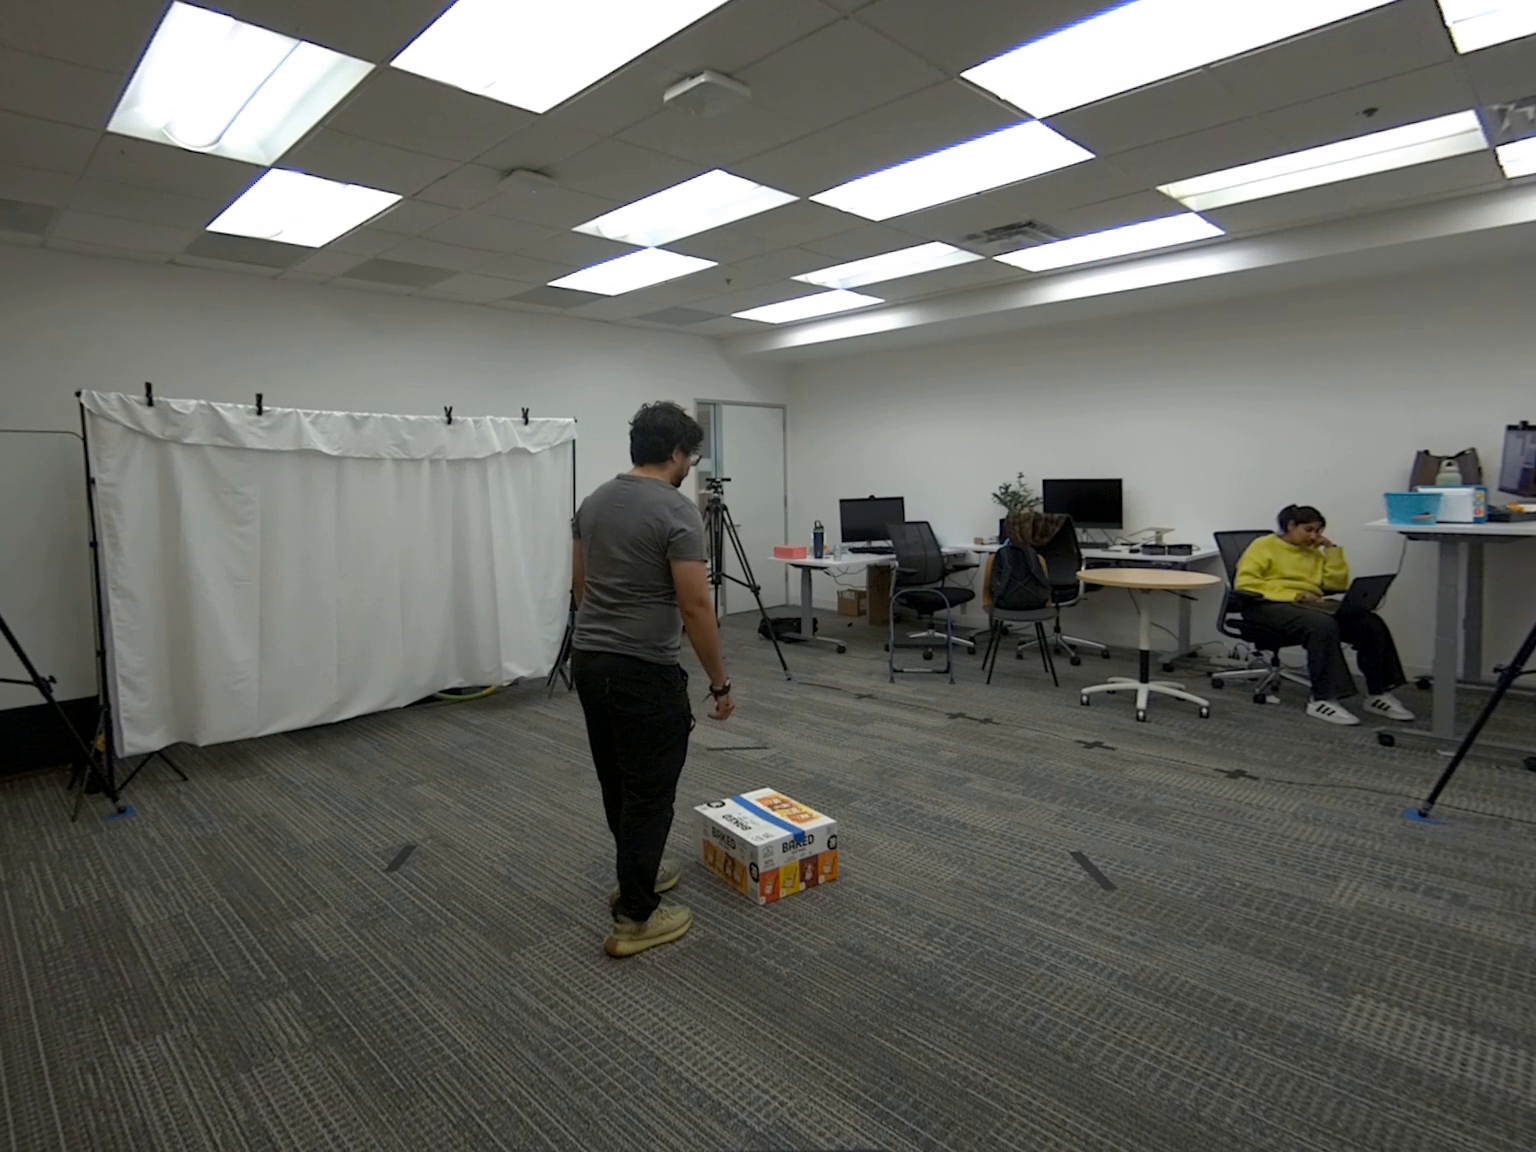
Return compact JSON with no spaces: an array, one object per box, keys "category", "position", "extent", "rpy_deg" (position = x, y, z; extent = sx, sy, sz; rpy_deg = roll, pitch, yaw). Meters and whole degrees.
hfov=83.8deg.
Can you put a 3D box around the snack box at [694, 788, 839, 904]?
[{"category":"snack box","position":[-0.012,0.948,3.041],"extent":[0.332,0.205,0.417],"rpy_deg":[-5,7,-35]}]
